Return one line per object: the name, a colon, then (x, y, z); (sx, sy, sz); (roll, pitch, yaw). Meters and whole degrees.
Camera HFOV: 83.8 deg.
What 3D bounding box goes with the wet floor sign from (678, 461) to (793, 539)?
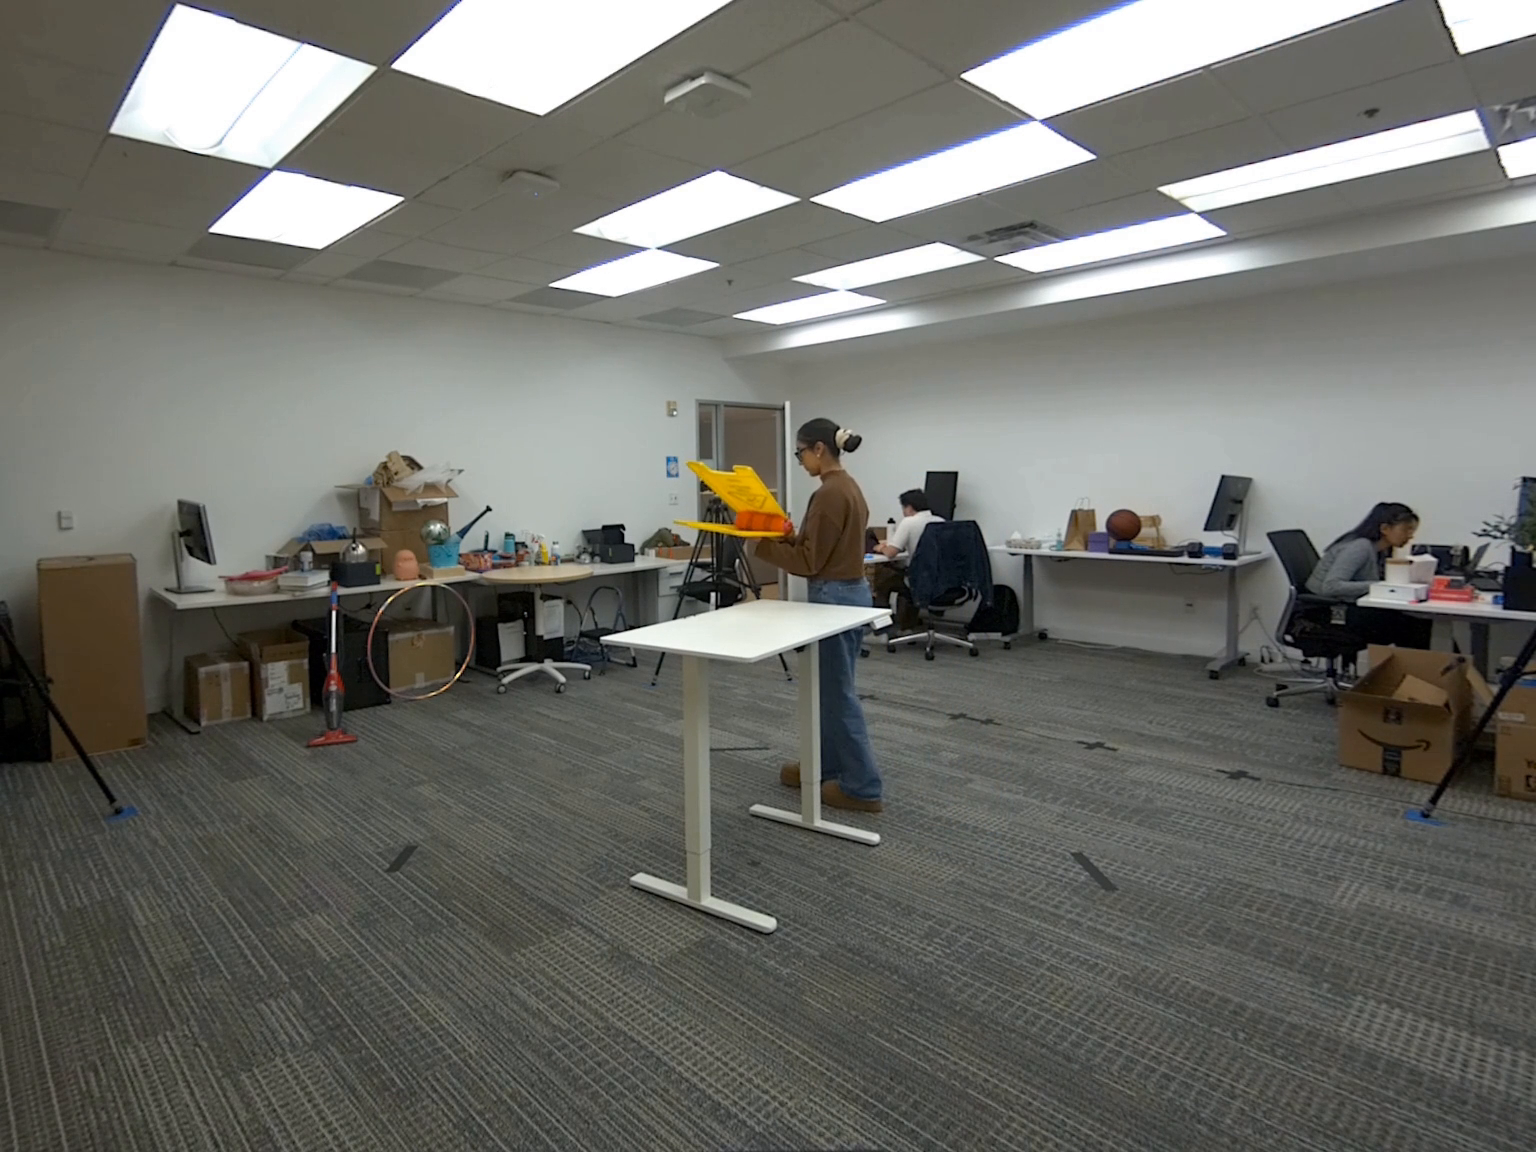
wet floor sign: (-0.090, -0.243, 3.472); (0.289, 0.291, 0.628); (10, -4, 23)
